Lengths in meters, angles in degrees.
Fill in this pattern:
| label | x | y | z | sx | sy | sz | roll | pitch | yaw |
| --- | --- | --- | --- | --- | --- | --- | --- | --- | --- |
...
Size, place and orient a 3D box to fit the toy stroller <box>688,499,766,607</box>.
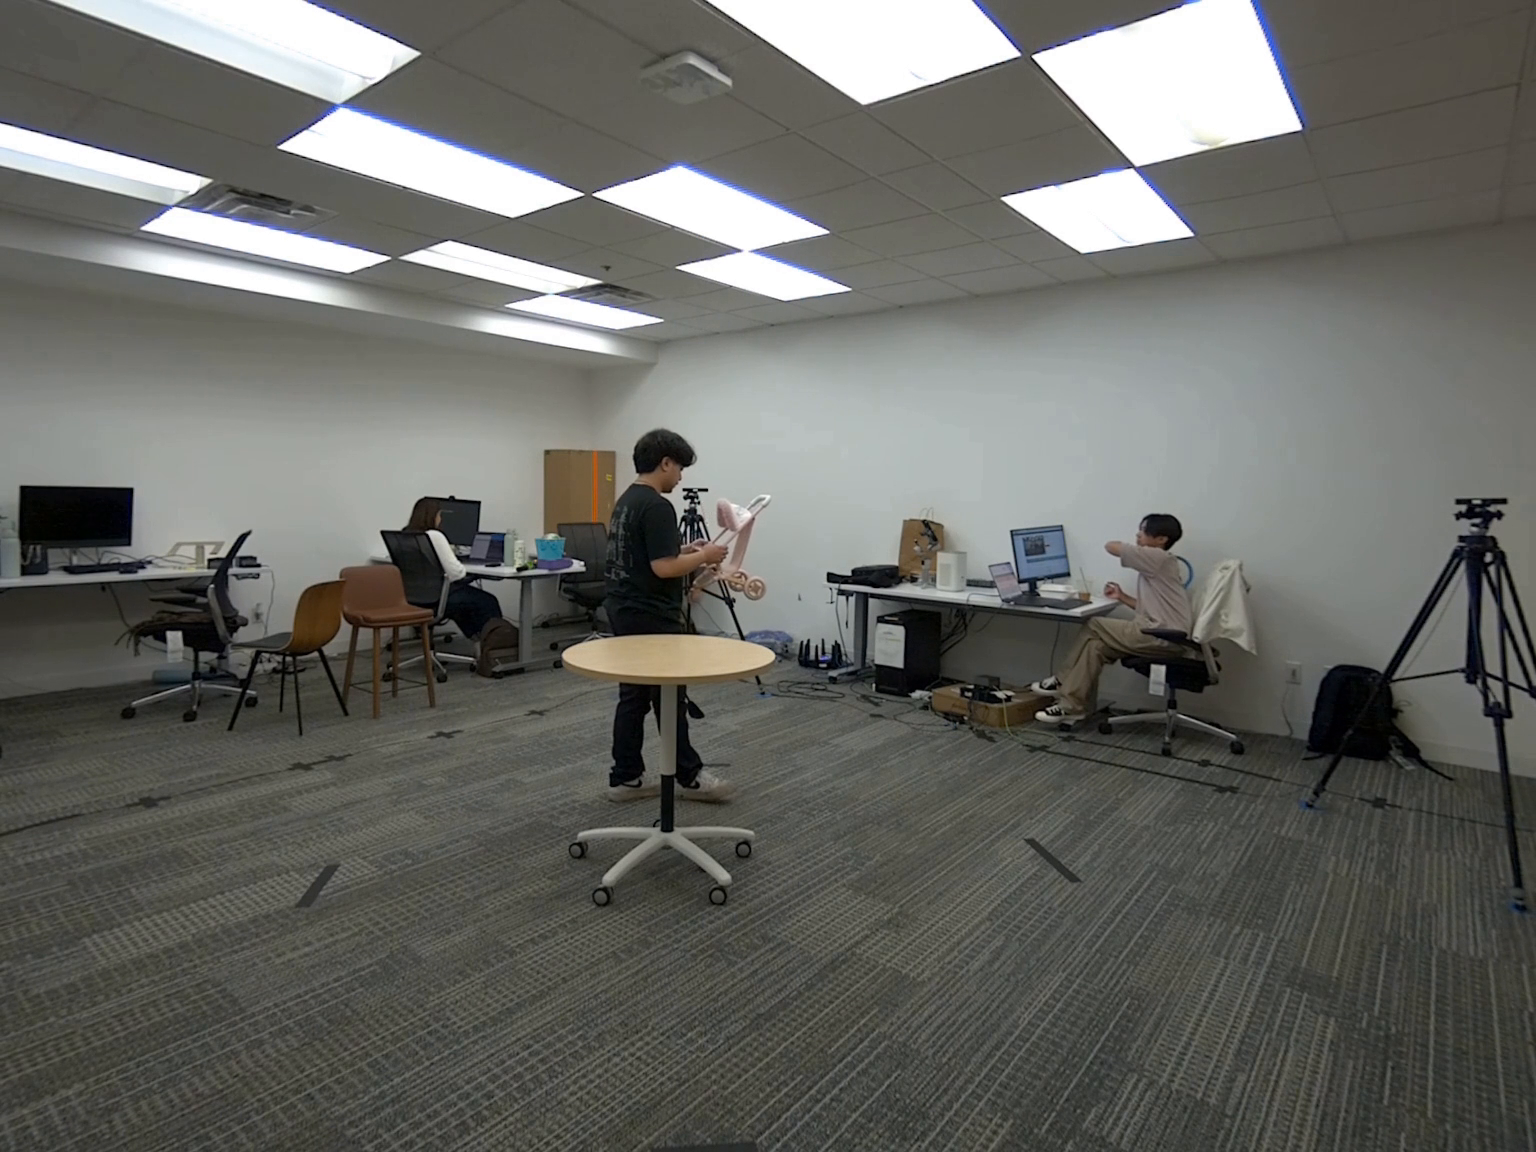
| label | x | y | z | sx | sy | sz | roll | pitch | yaw |
| --- | --- | --- | --- | --- | --- | --- | --- | --- | --- |
| toy stroller | -0.198 | -0.123 | 3.938 | 0.337 | 0.532 | 0.287 | 4 | 6 | -13 |
